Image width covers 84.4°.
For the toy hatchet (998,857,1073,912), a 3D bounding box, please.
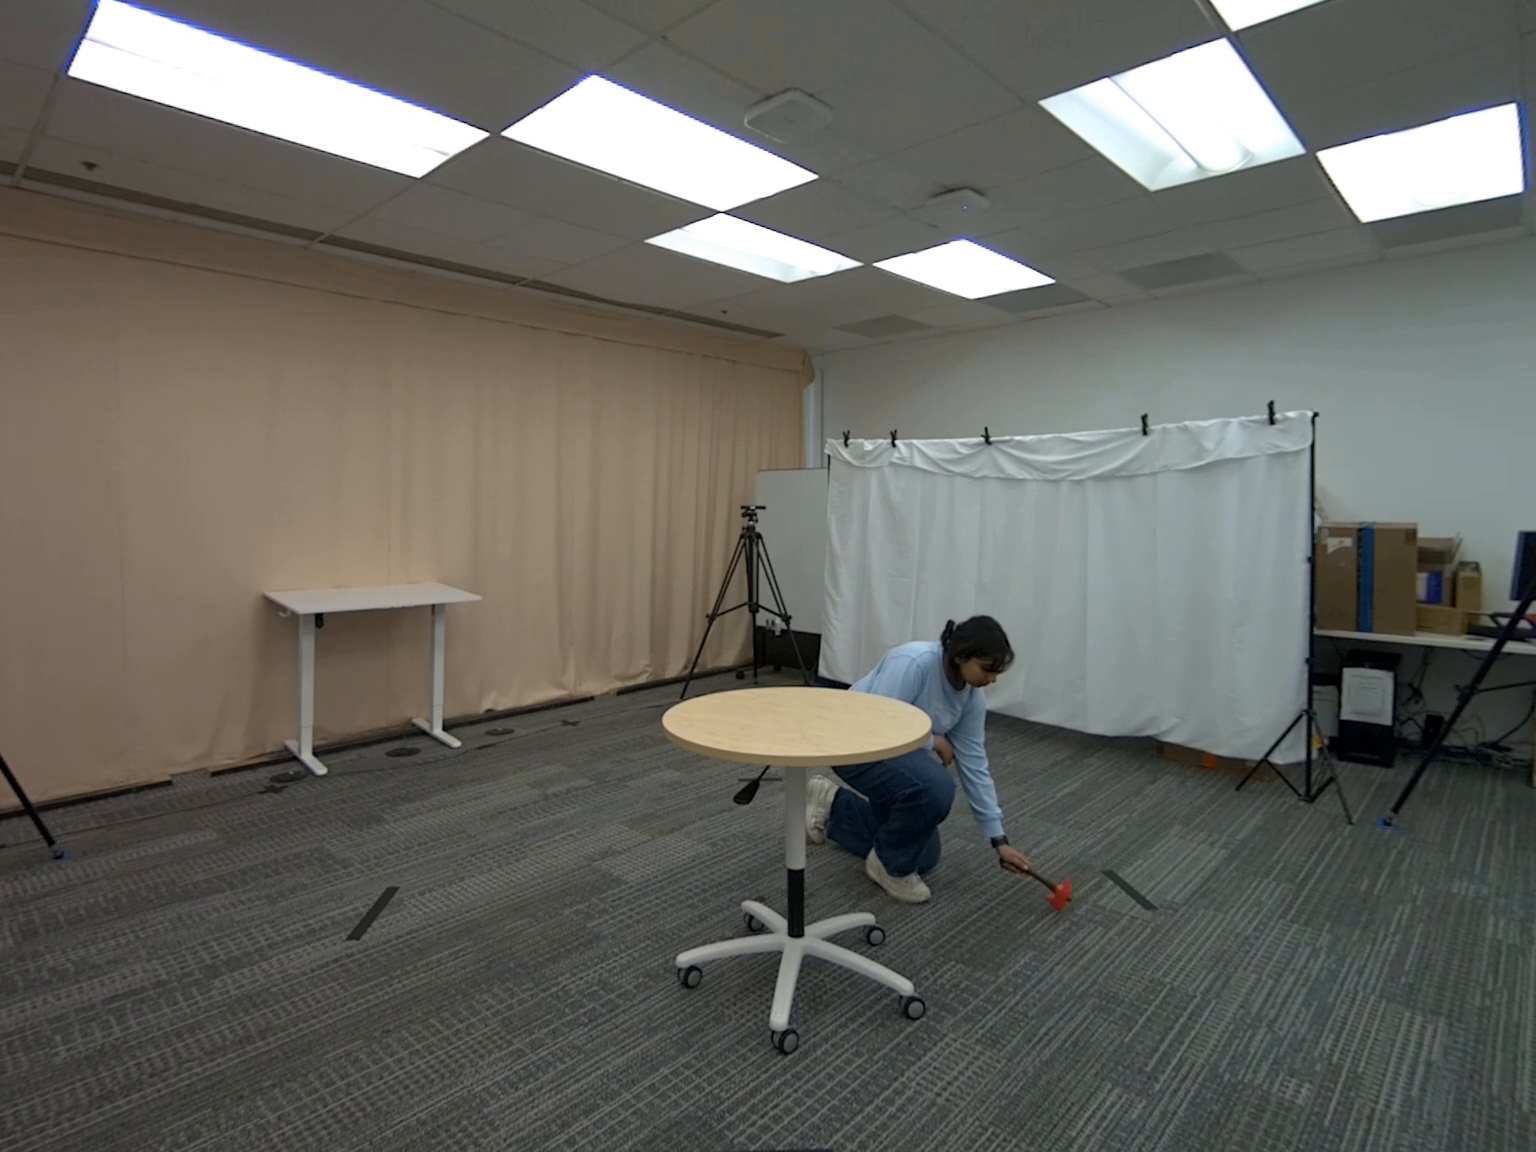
[{"bbox_3d":[0.952,1.080,2.934,0.029,0.130,0.278,-16,8,-41],"label":"toy hatchet"}]
